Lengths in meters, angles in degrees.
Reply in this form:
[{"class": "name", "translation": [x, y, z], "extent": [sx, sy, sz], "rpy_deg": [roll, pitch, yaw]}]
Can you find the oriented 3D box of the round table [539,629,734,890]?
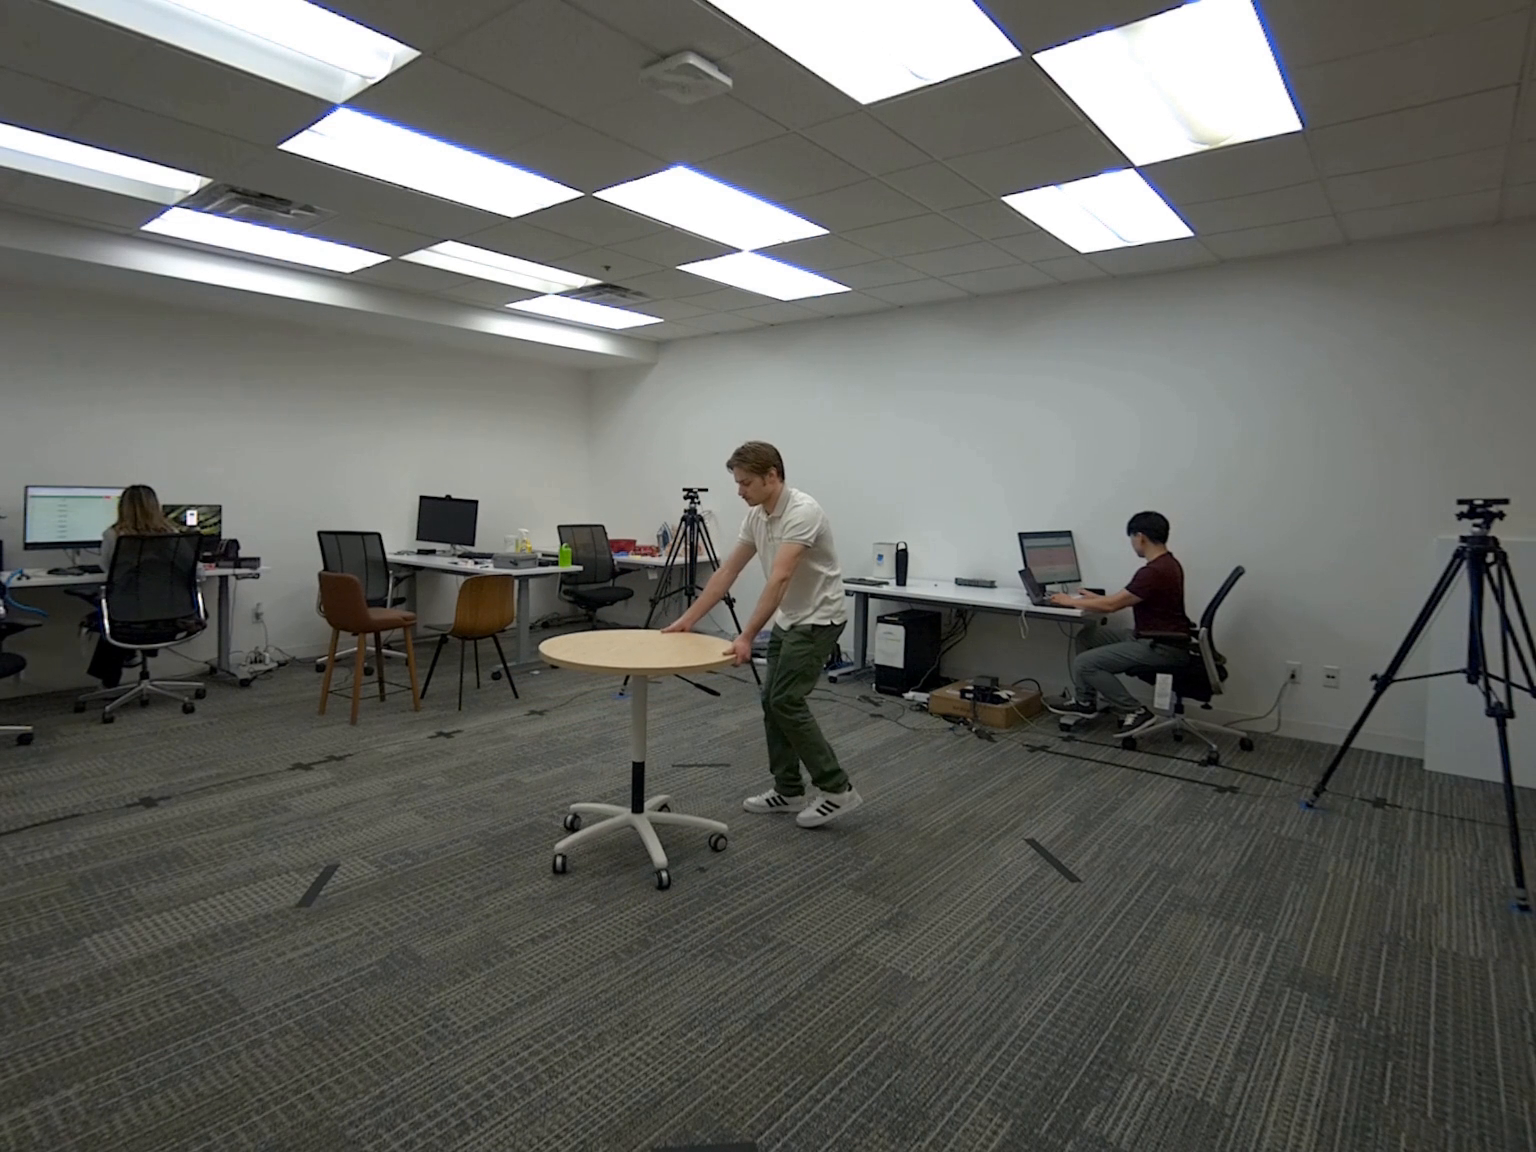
[{"class": "round table", "translation": [-0.501, 0.655, 3.274], "extent": [0.784, 0.784, 0.789], "rpy_deg": [1, 4, -2]}]
